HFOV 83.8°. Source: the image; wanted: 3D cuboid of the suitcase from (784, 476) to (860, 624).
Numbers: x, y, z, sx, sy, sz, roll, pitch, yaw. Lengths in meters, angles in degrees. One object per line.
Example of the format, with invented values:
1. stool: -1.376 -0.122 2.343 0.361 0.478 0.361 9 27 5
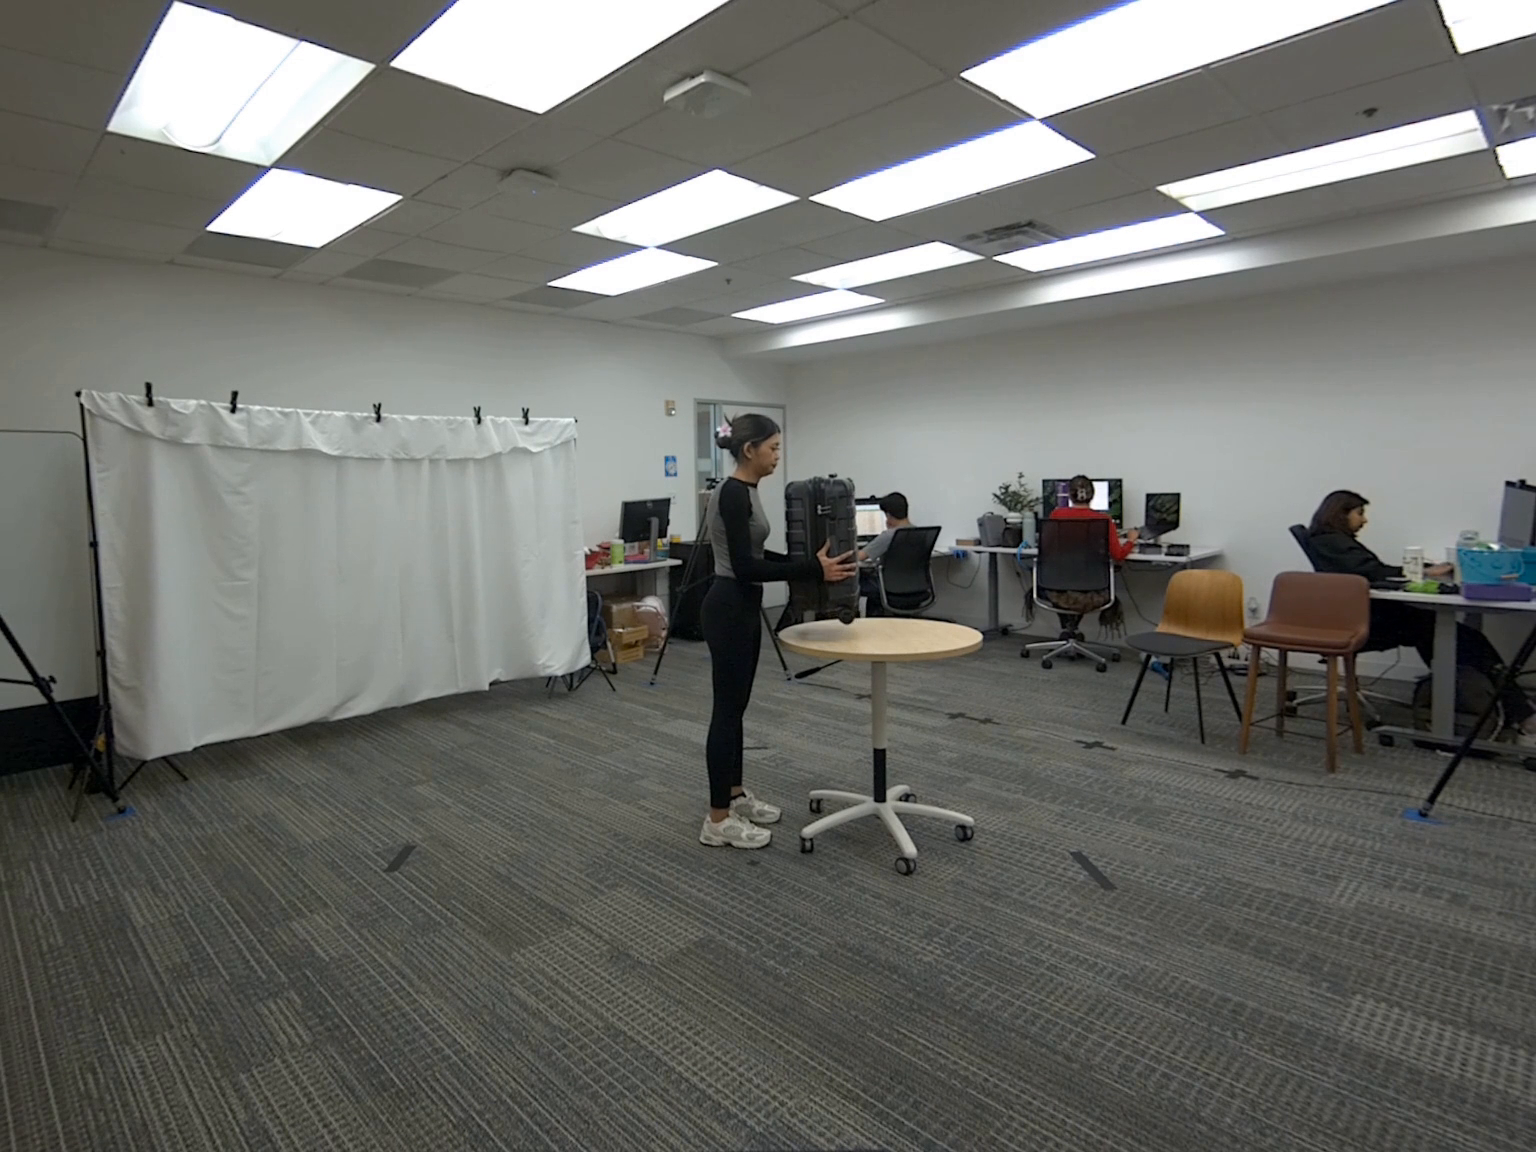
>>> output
1. suitcase: 0.212 -0.115 3.279 0.250 0.547 0.373 -2 4 8
